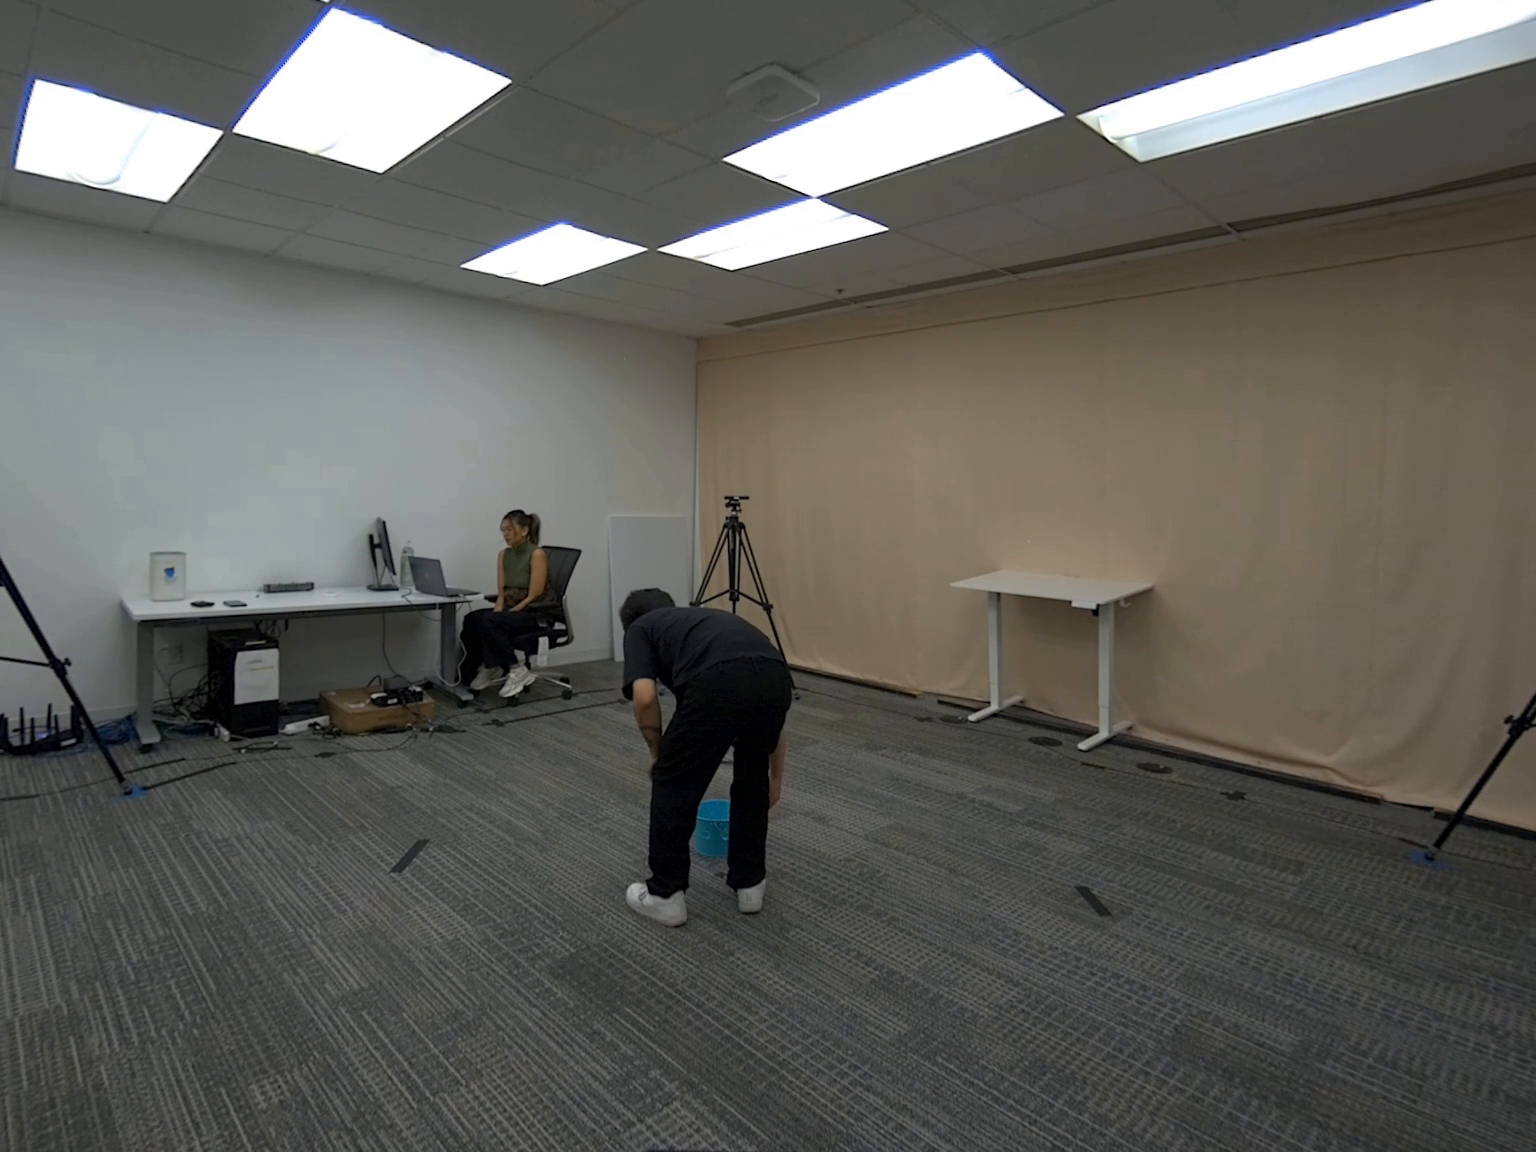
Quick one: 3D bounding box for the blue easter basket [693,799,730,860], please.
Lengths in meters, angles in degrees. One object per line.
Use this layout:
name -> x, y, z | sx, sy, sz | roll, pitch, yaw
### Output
blue easter basket -> -0.205, 1.003, 3.340 | 0.243, 0.155, 0.244 | 1, 4, -1
